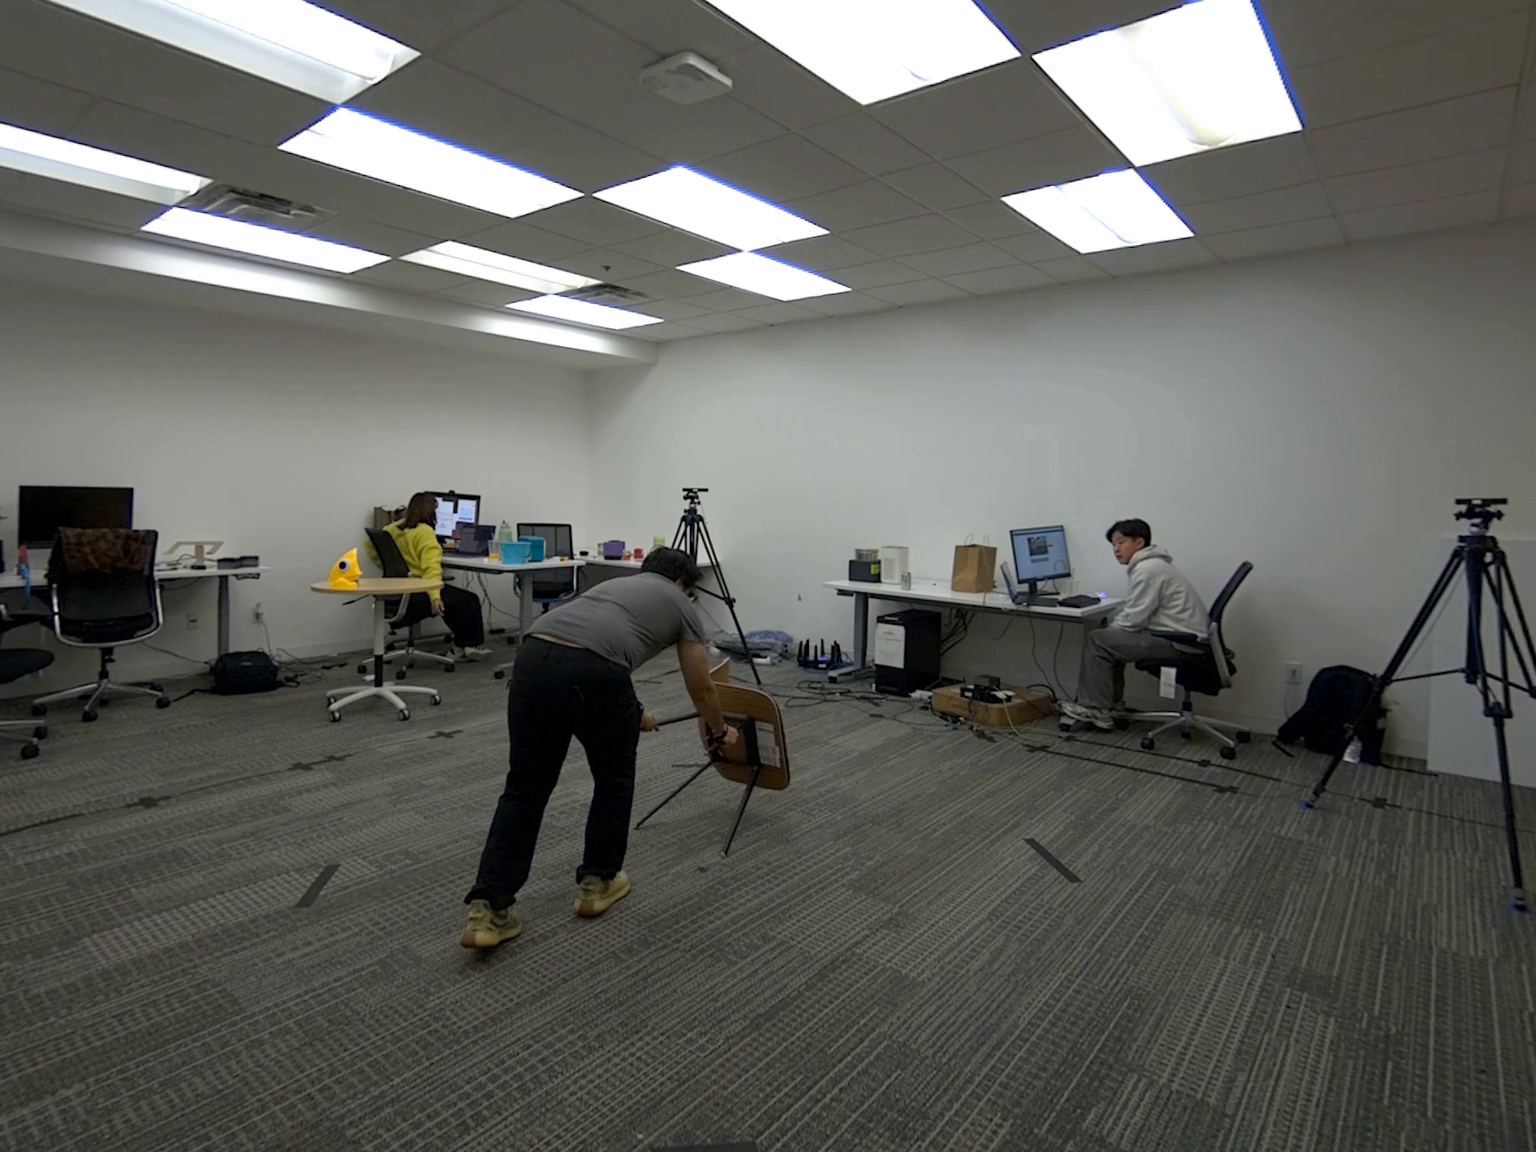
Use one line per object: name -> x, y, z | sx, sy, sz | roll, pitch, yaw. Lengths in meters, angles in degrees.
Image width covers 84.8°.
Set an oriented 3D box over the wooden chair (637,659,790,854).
wooden chair -> -0.166, 0.698, 3.612 | 0.538, 0.470, 0.868 | 2, 20, 29
